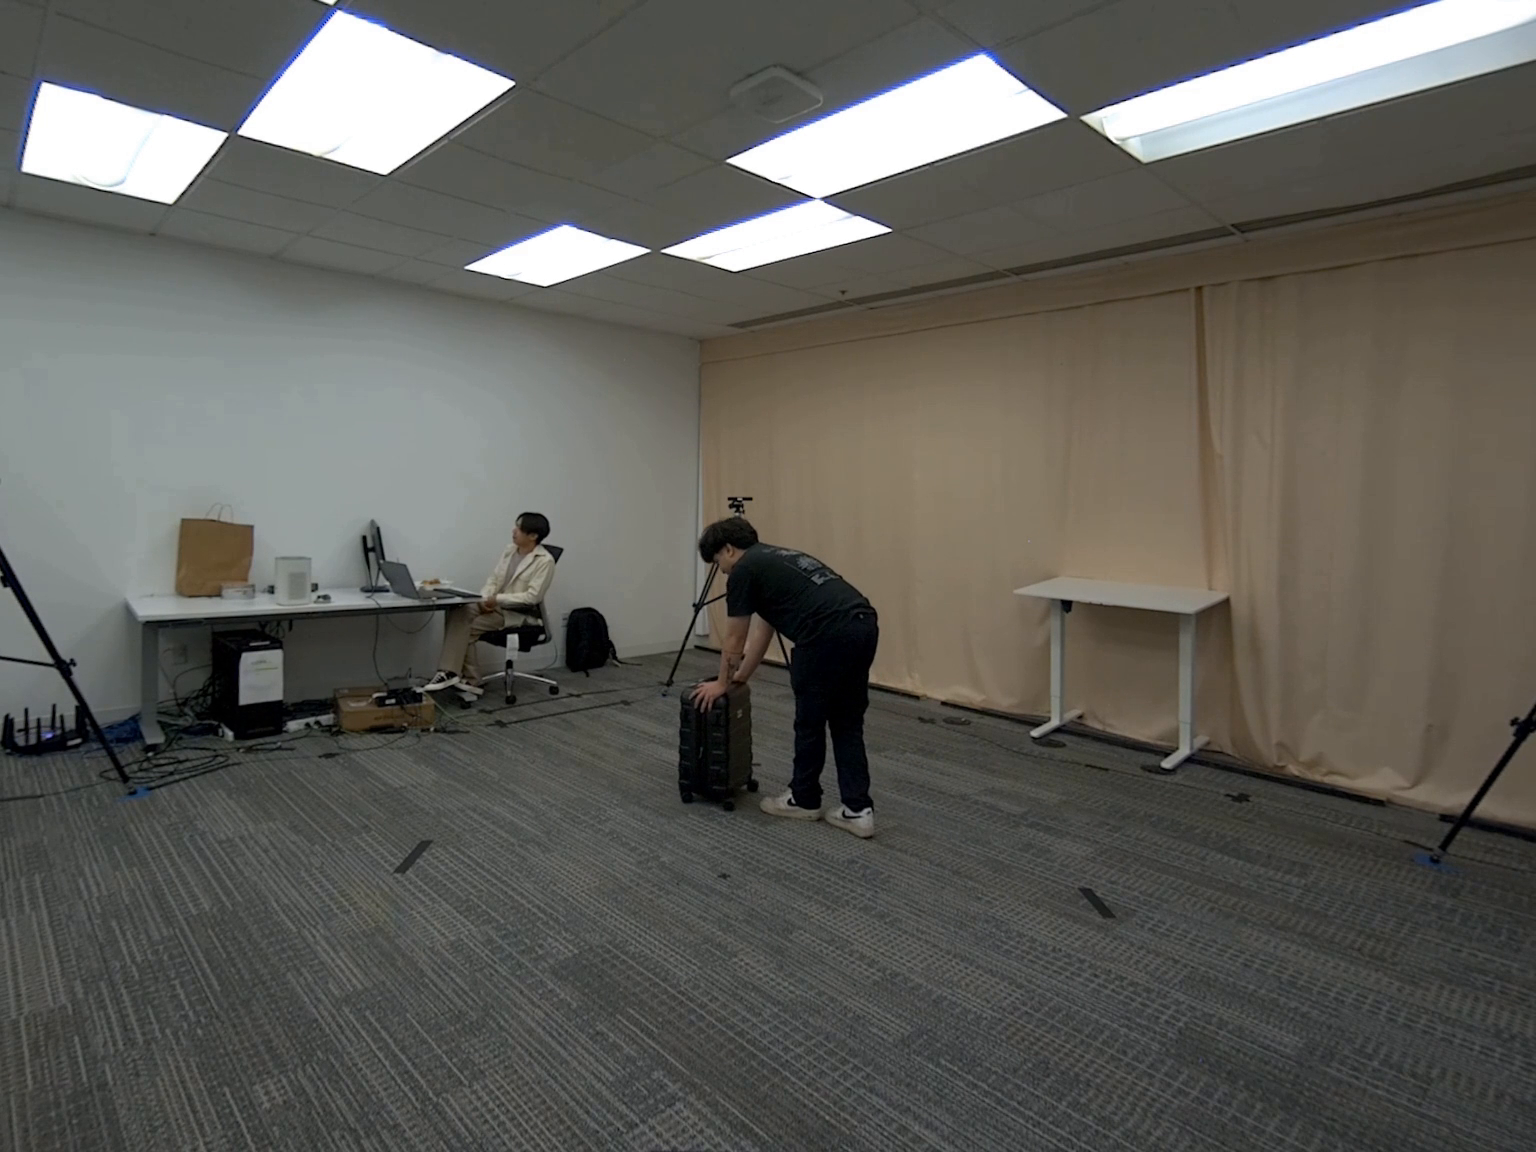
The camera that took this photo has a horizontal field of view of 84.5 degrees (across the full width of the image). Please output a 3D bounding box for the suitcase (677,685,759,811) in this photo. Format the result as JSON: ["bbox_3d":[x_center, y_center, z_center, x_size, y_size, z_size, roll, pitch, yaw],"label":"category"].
[{"bbox_3d":[-0.245,0.758,3.943,0.252,0.548,0.370,1,3,21],"label":"suitcase"}]
